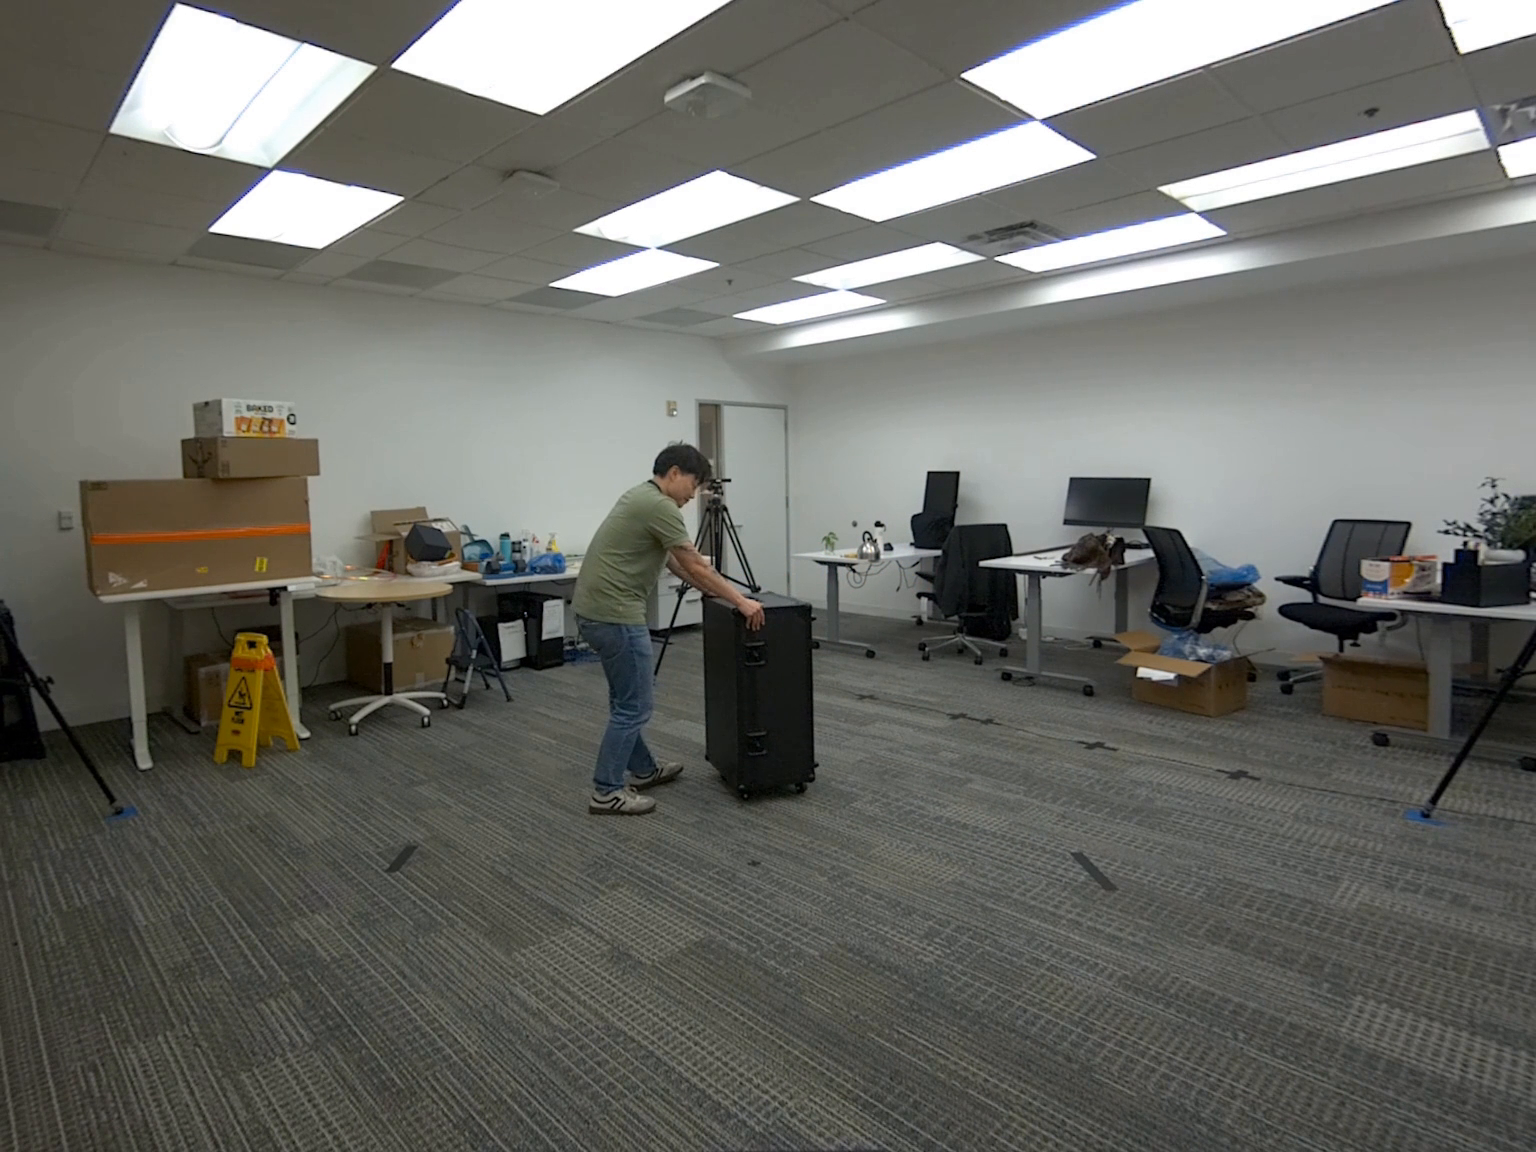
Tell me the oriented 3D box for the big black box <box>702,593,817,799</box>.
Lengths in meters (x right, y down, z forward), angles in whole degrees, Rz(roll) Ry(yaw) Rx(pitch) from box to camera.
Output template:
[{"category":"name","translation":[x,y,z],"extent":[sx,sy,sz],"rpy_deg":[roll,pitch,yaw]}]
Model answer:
[{"category":"big black box","translation":[-0.045,0.531,3.887],"extent":[0.389,0.859,0.532],"rpy_deg":[-1,3,-20]}]
